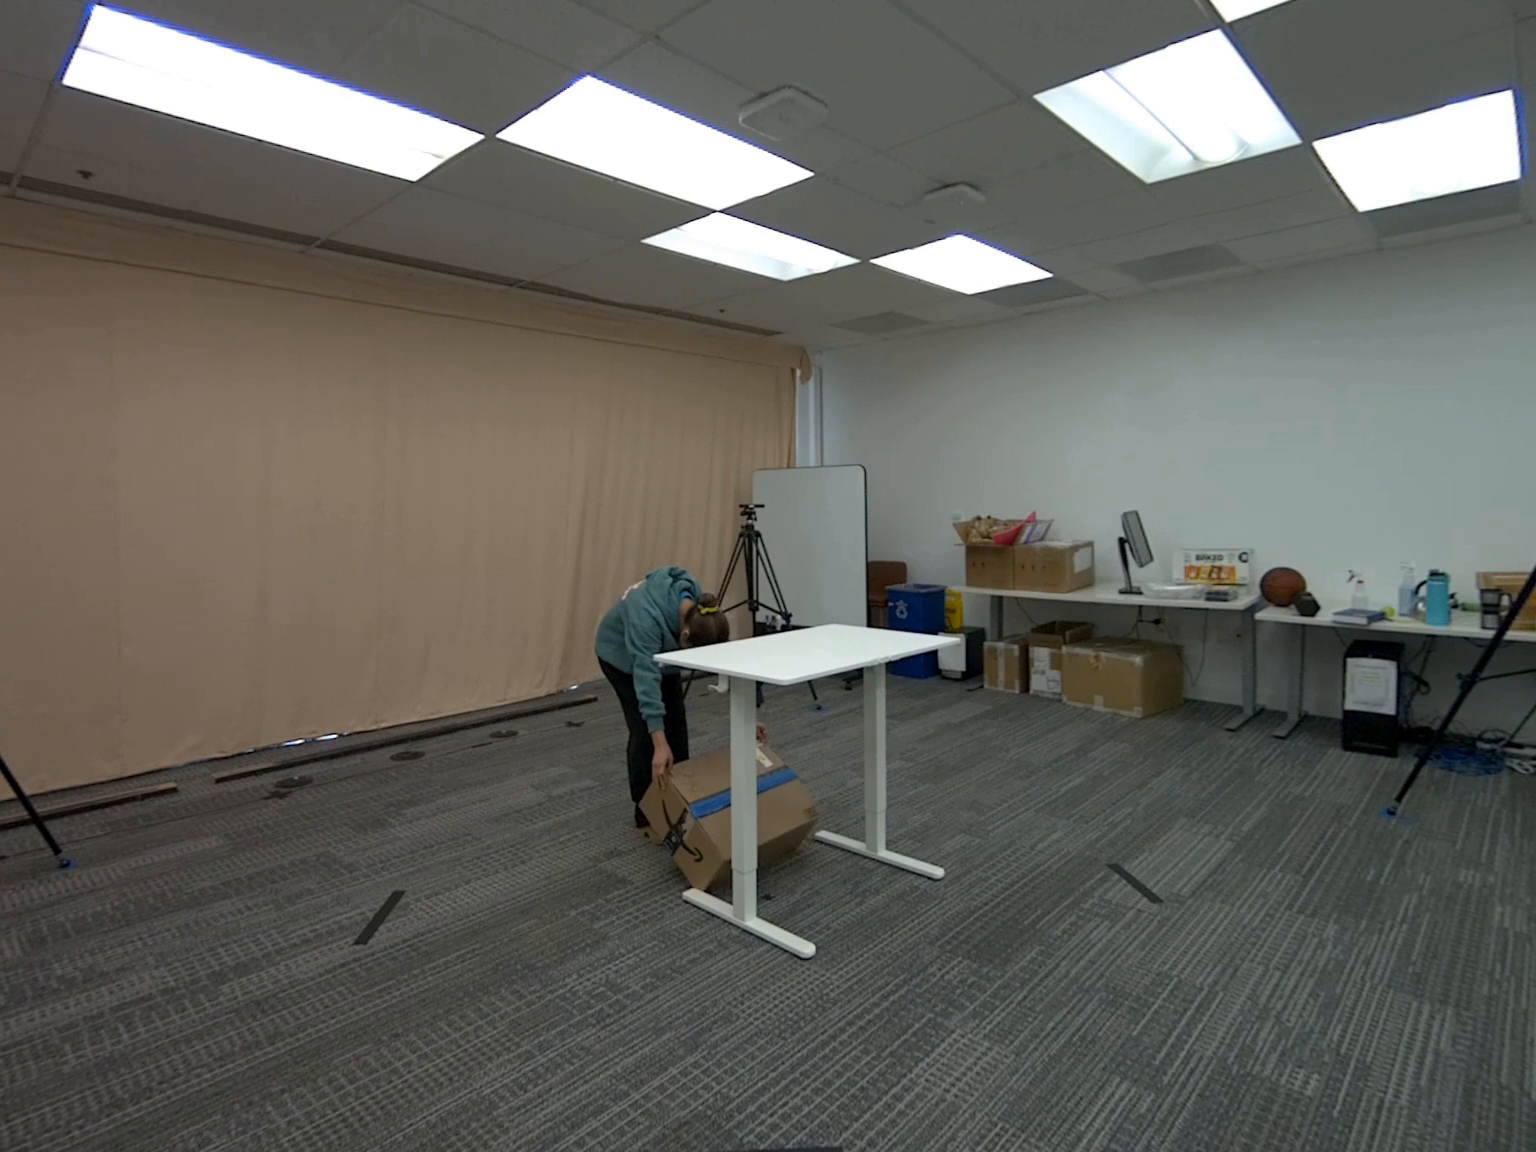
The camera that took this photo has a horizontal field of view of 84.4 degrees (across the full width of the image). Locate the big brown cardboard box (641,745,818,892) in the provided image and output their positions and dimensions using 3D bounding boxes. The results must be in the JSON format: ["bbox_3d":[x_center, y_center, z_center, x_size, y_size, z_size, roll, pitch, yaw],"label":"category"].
[{"bbox_3d":[-0.134,0.903,3.257,0.572,0.233,0.430,-8,46,-47],"label":"big brown cardboard box"}]
